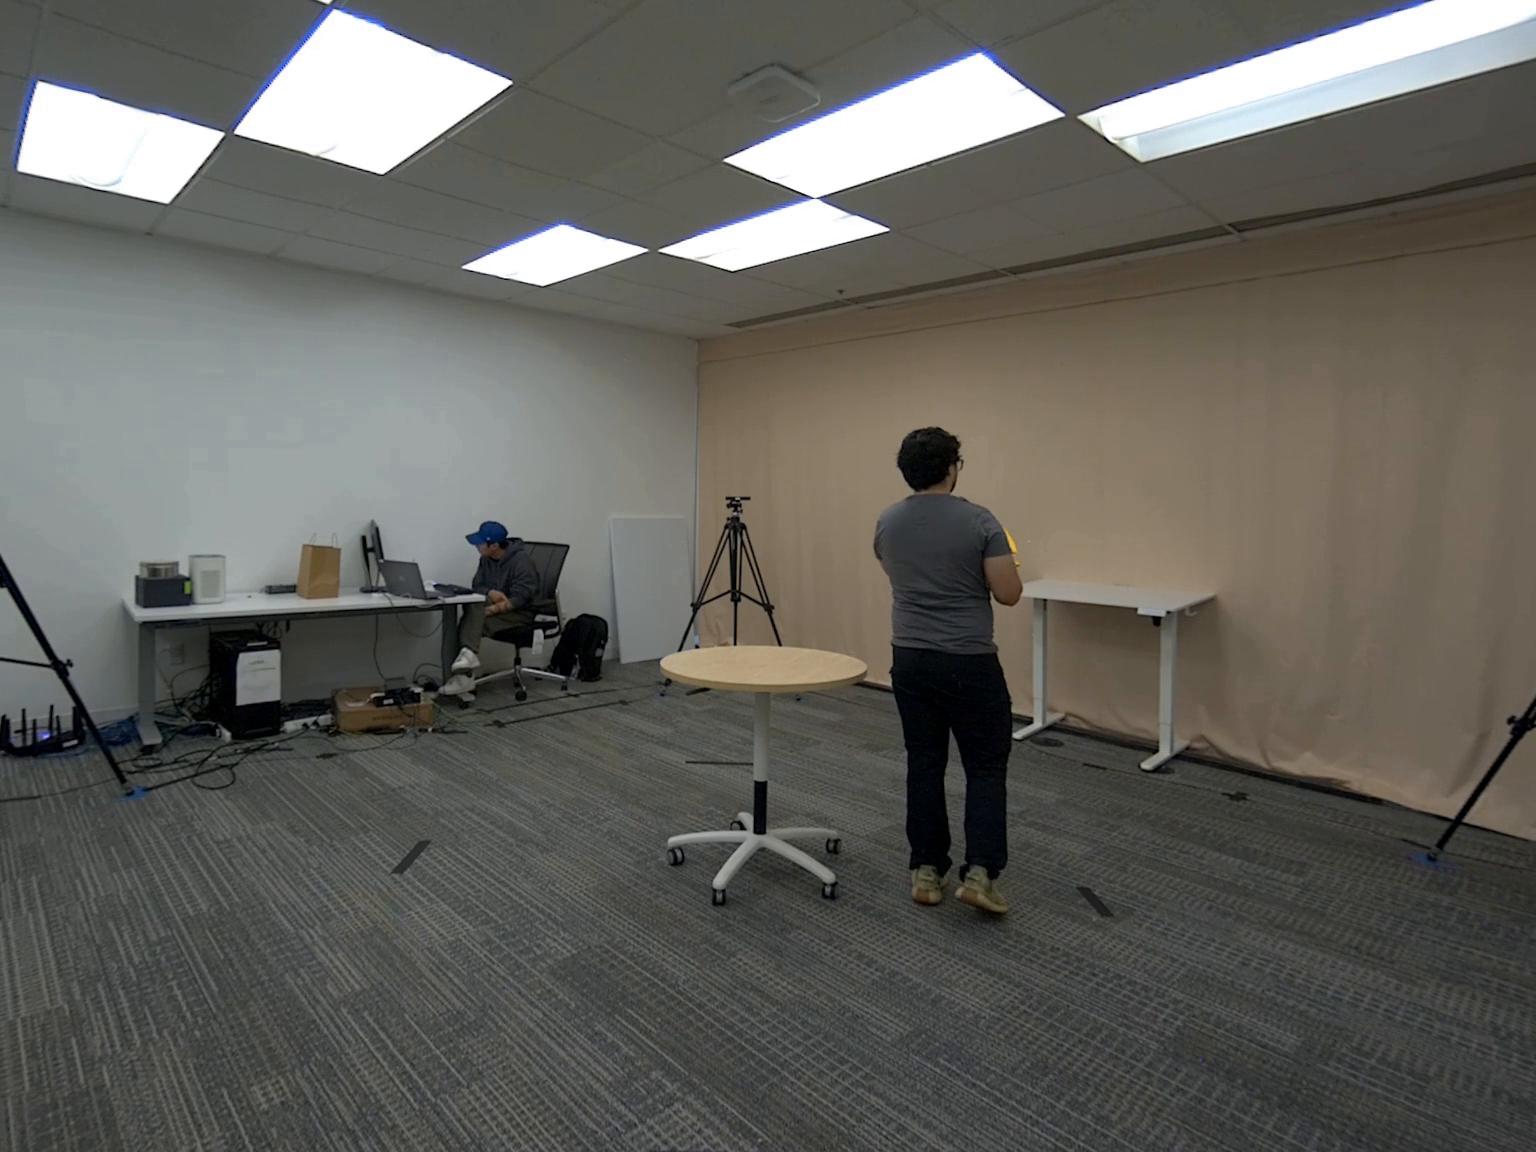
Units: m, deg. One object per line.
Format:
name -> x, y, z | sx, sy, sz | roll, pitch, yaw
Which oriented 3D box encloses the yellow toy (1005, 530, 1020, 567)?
yellow toy -> 0.830, -0.159, 3.203 | 0.196, 0.234, 0.198 | -11, -24, 28
